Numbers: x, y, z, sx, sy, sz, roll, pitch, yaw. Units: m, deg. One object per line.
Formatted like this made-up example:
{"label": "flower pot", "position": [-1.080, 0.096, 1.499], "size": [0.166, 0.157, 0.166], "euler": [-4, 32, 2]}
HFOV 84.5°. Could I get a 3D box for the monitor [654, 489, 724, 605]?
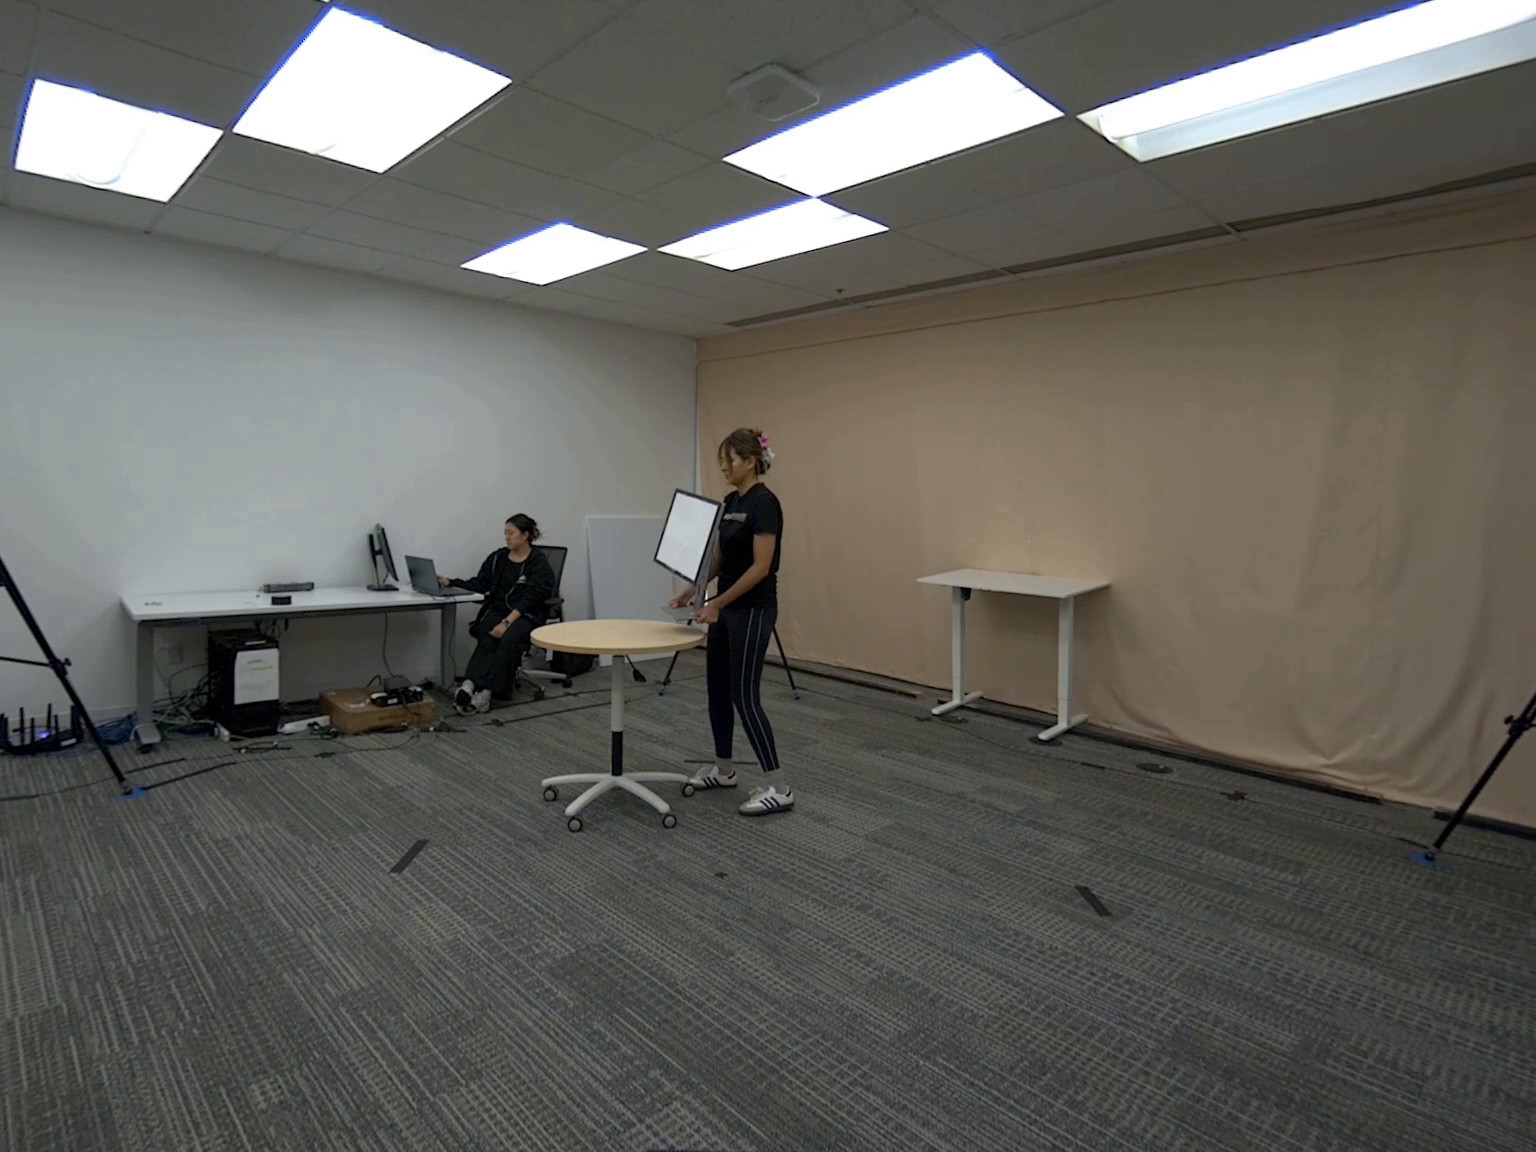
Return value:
{"label": "monitor", "position": [-0.347, -0.097, 3.769], "size": [0.183, 0.520, 0.552], "euler": [2, 9, -27]}
